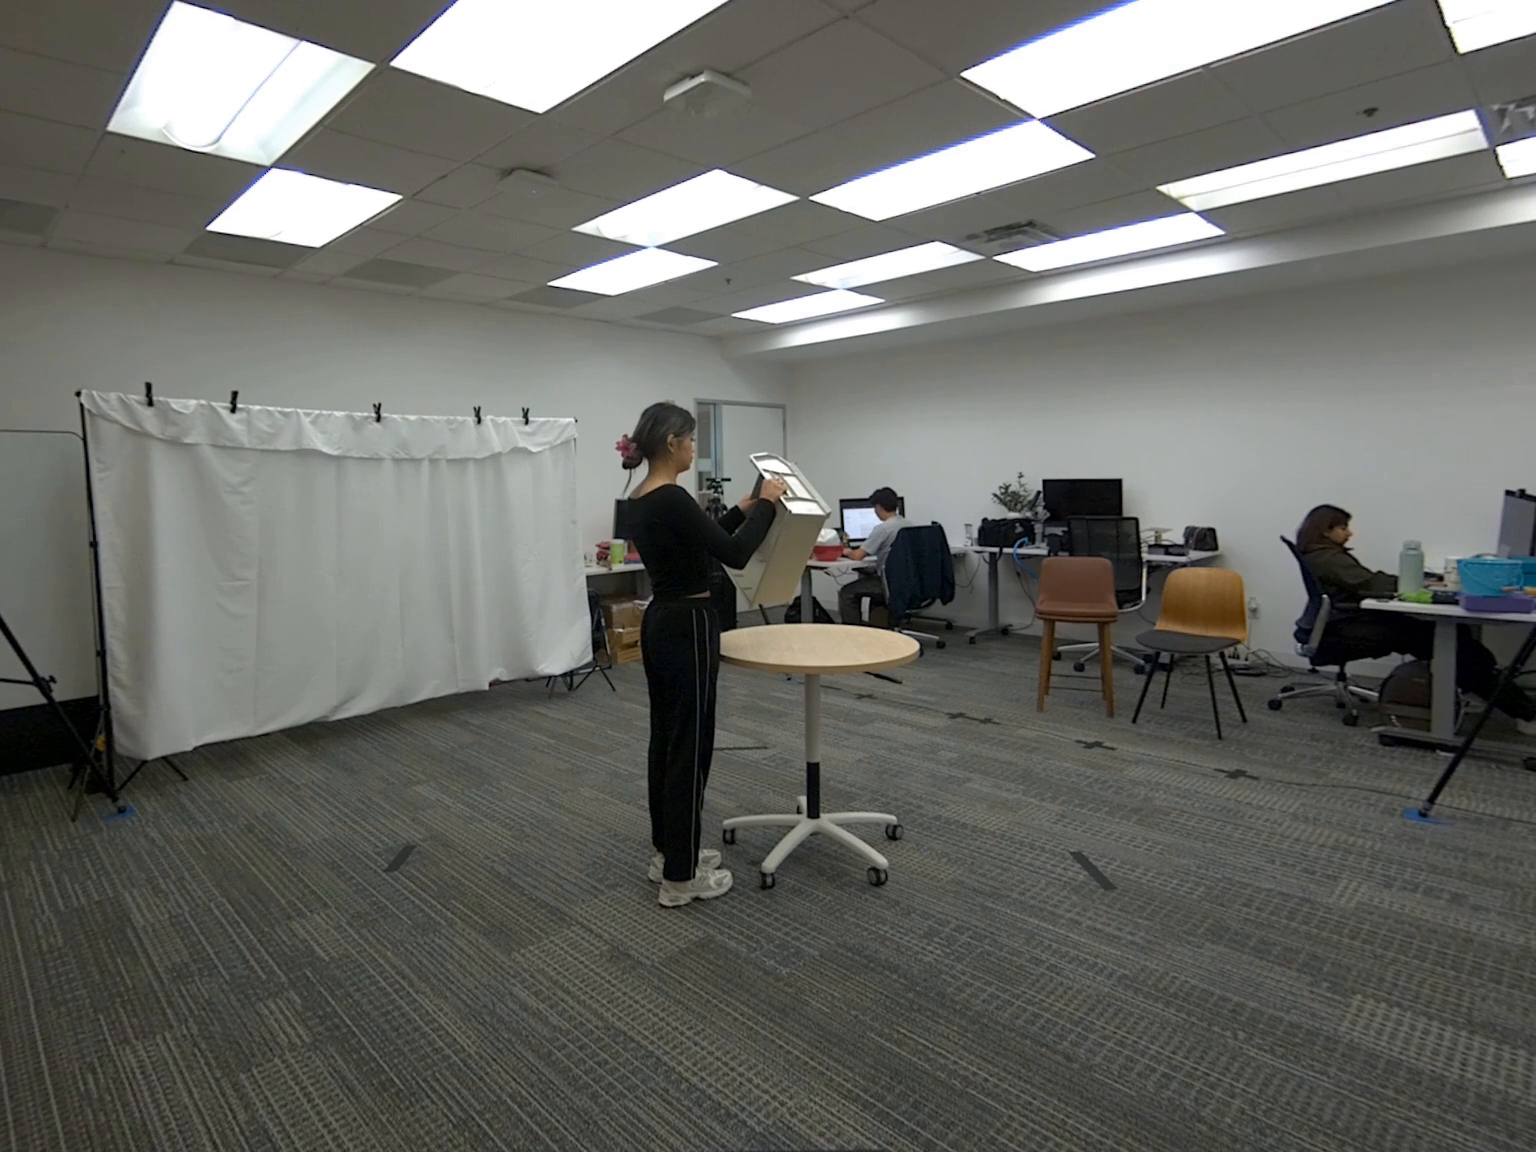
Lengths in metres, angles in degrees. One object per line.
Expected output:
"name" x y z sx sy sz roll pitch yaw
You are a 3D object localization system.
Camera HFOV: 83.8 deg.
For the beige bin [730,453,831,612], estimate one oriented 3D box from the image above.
"beige bin" -0.014 -0.167 3.060 0.184 0.417 0.392 1 36 -32
